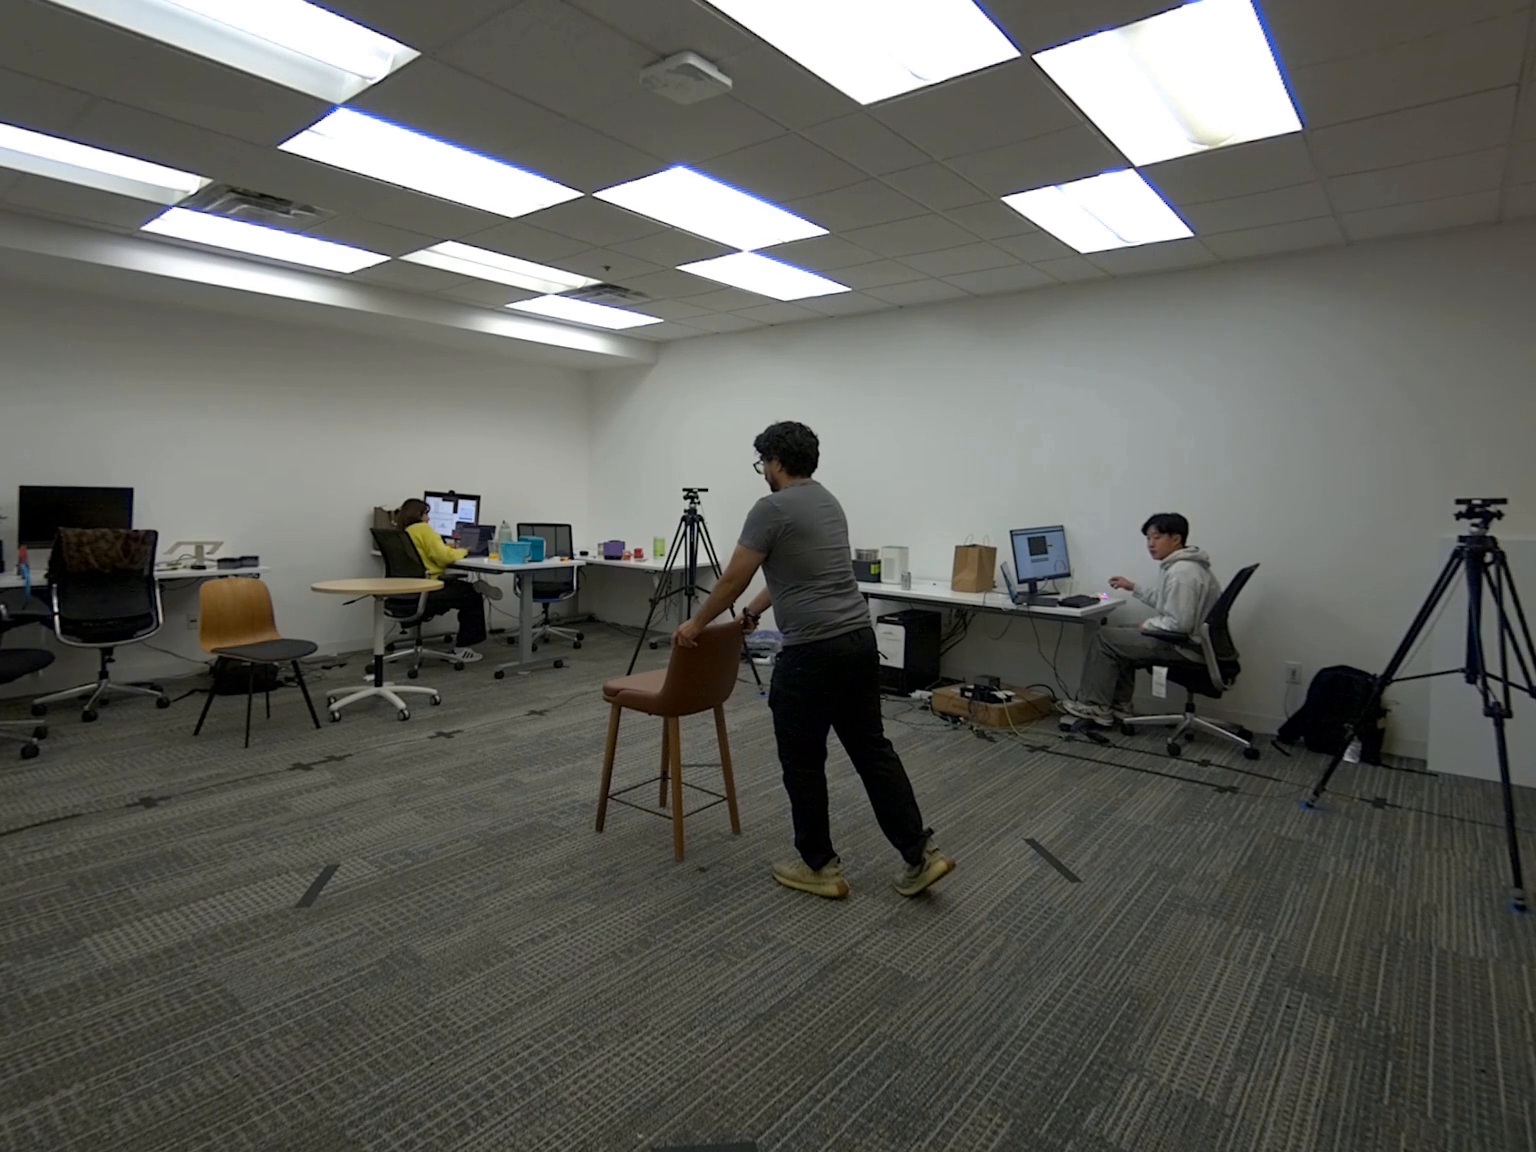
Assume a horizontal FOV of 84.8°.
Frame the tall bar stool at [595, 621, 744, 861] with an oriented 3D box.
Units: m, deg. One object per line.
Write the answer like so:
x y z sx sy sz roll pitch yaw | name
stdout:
-0.395 0.599 3.427 0.483 0.887 0.443 6 5 38 | tall bar stool
